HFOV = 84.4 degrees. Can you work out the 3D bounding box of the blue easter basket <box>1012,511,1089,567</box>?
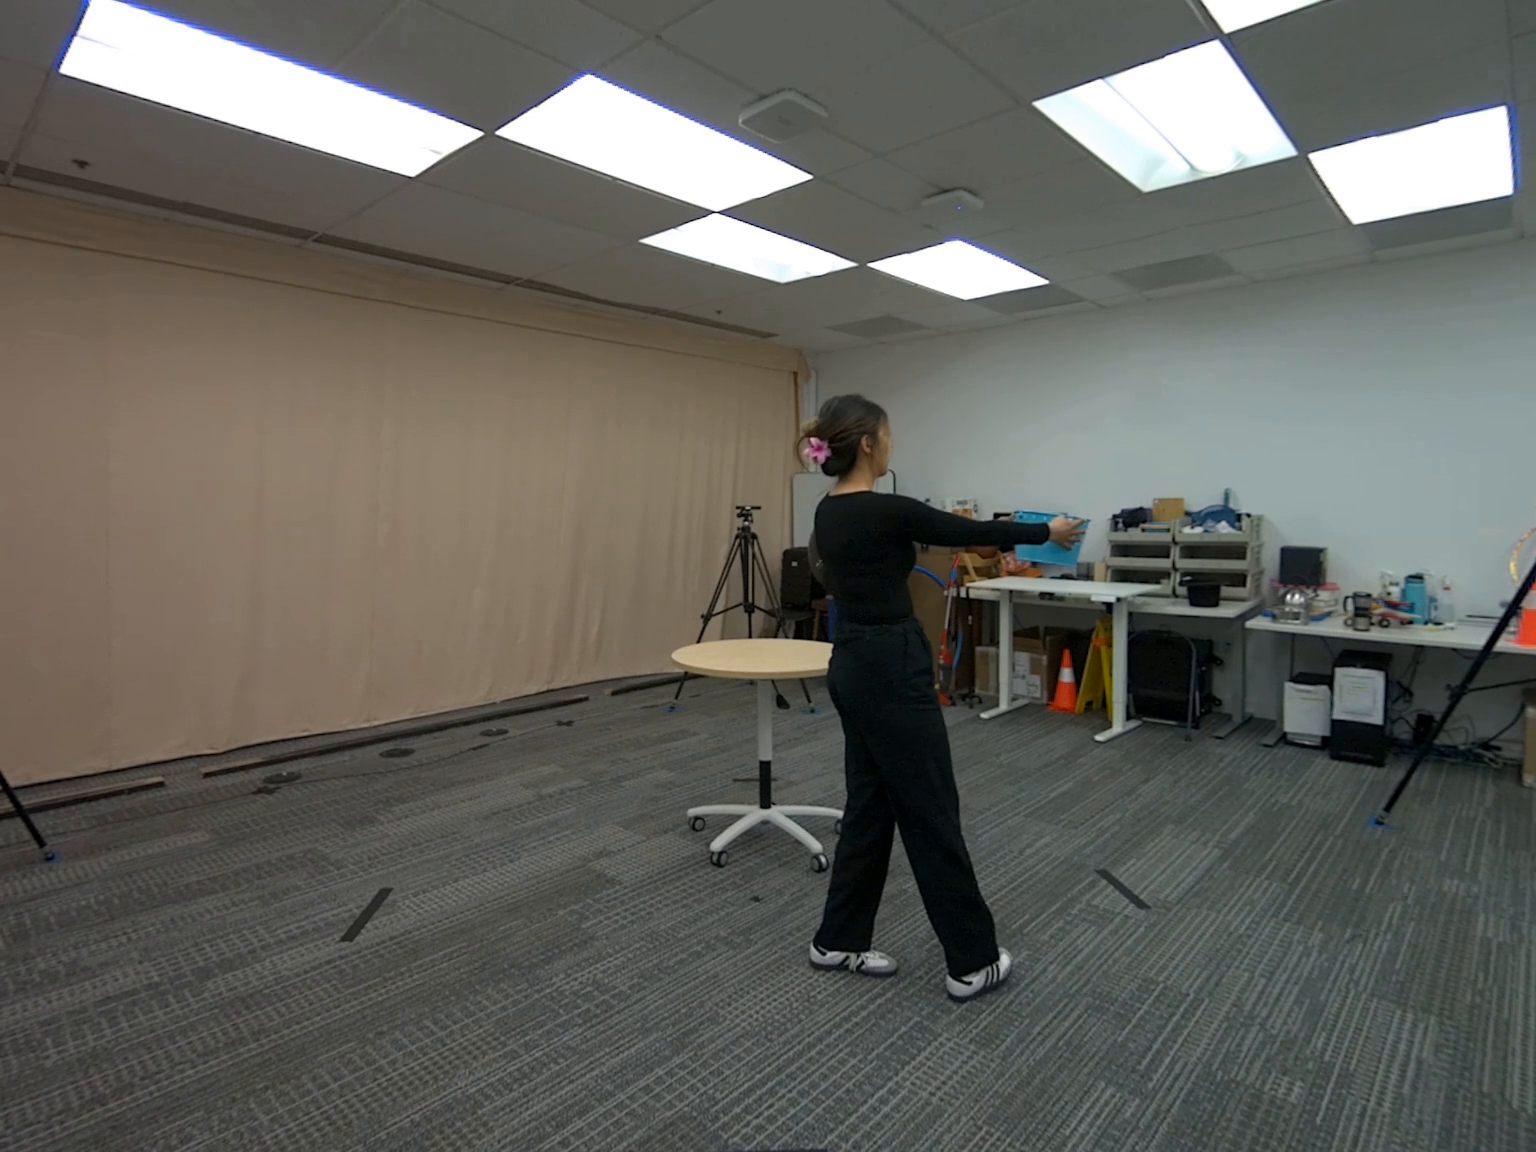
[{"bbox_3d":[0.908,-0.119,2.674,0.243,0.156,0.244,5,2,-2],"label":"blue easter basket"}]
